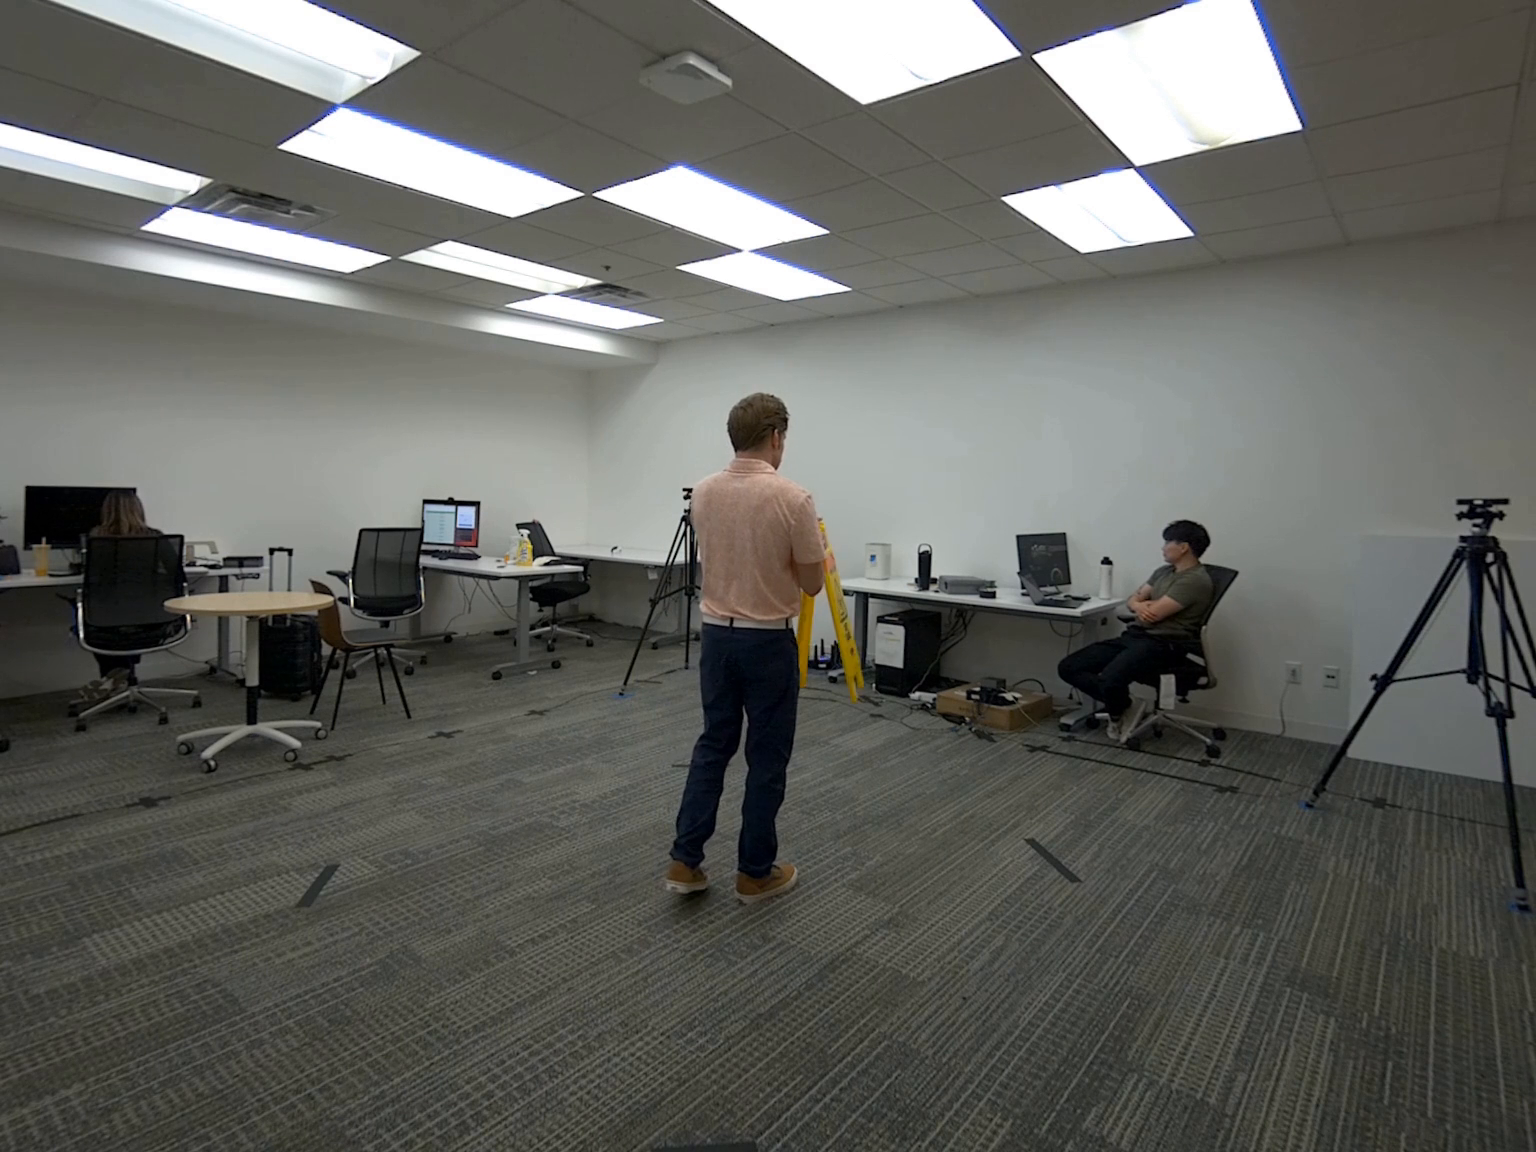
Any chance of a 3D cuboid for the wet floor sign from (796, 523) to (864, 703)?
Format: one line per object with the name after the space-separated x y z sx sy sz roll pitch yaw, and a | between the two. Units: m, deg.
0.192 0.120 3.195 0.294 0.644 0.279 -2 4 13 | wet floor sign
